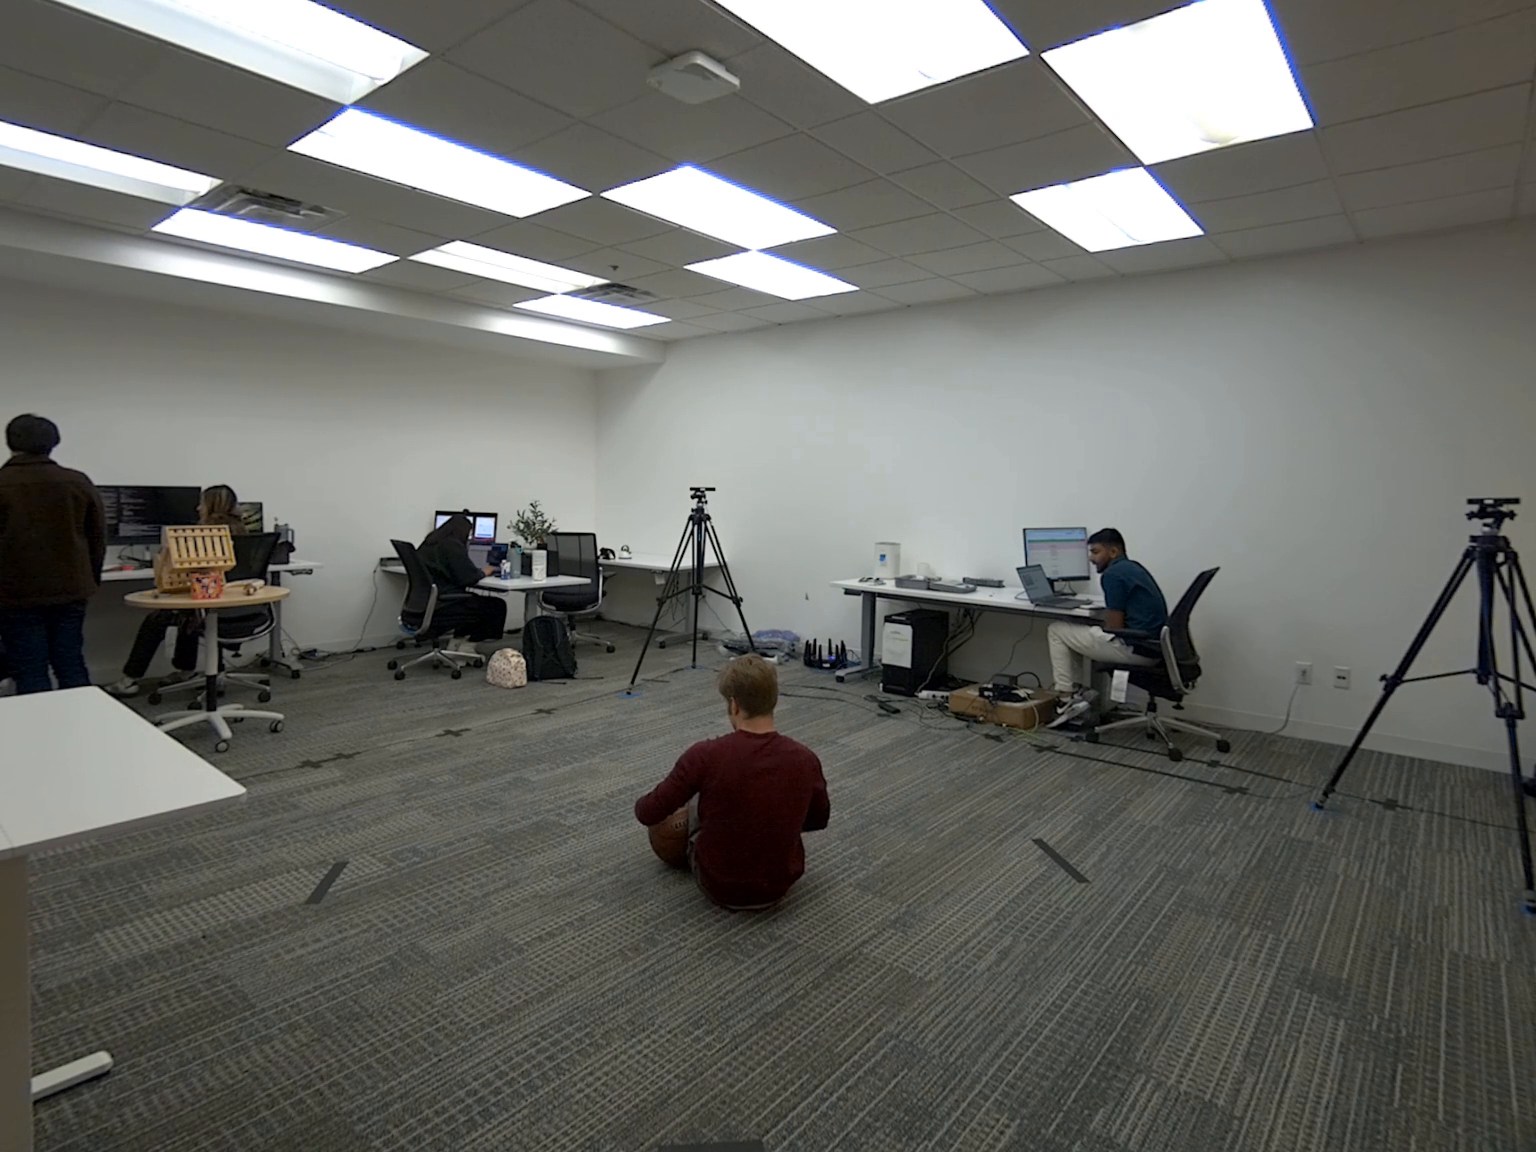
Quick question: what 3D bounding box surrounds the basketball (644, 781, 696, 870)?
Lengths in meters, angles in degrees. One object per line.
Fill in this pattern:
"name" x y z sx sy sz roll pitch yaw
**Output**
"basketball" -0.335 0.927 3.151 0.235 0.235 0.237 1 4 -2
